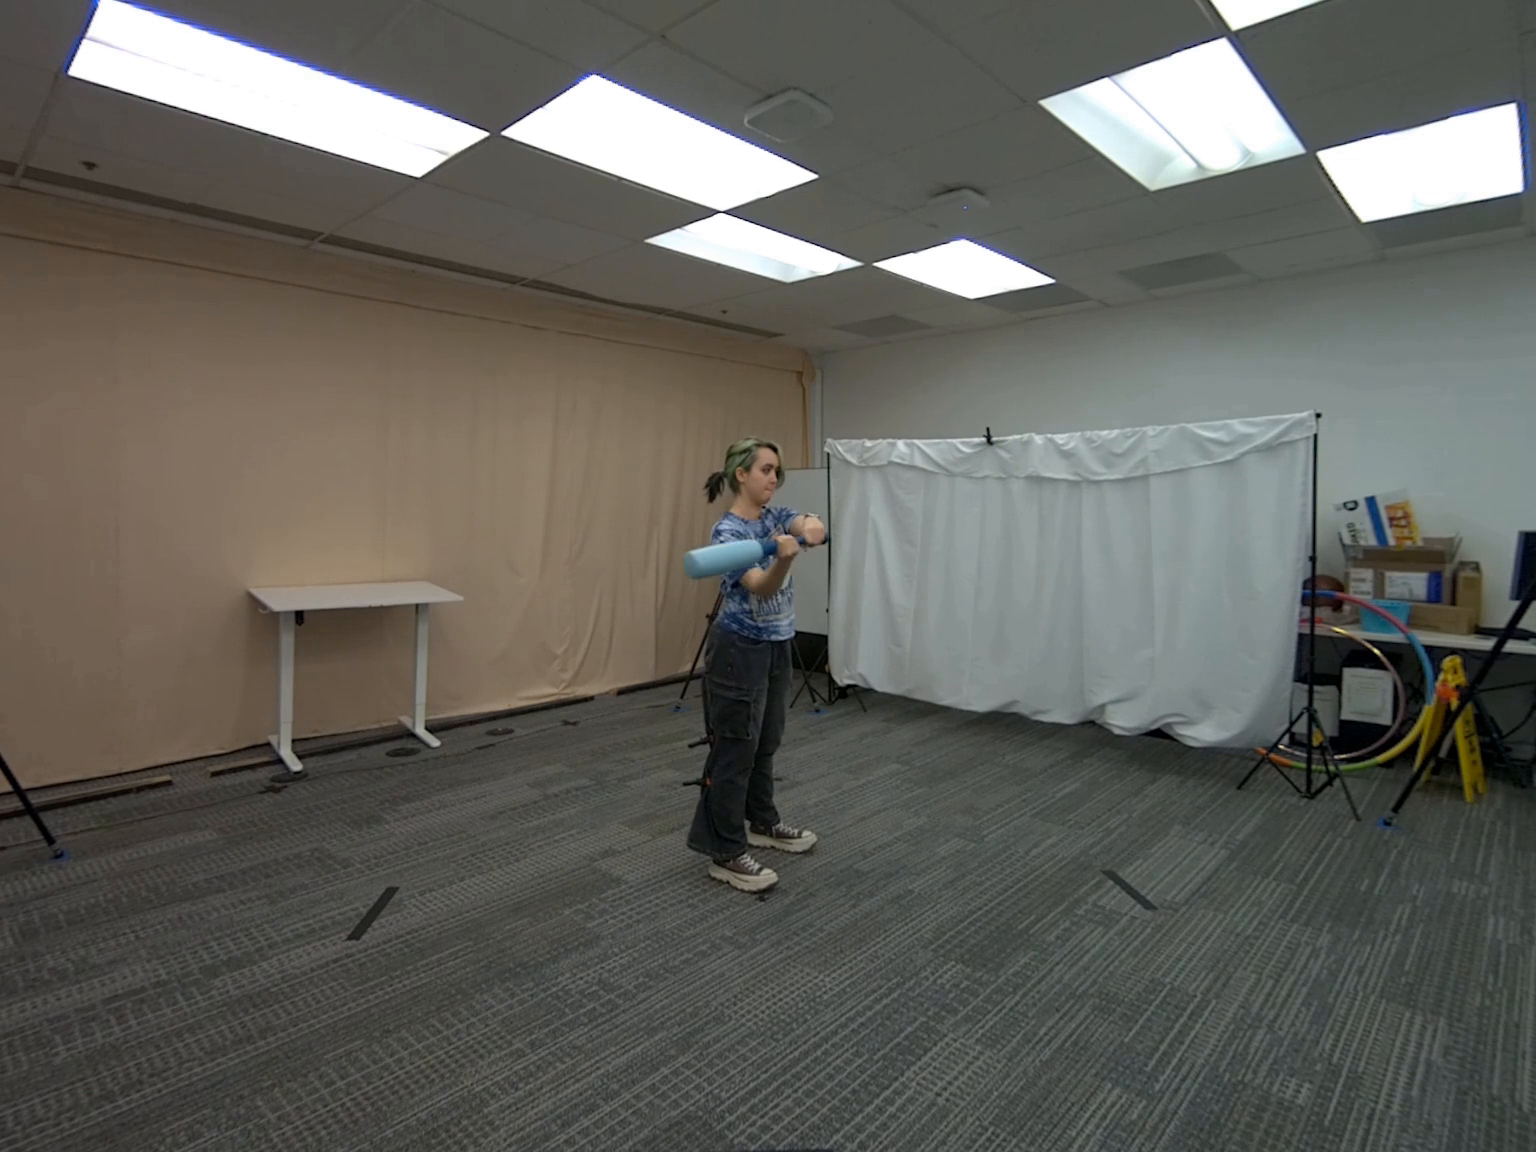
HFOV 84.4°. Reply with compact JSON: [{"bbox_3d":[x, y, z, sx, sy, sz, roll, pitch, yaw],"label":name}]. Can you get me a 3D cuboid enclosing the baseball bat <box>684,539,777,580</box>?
[{"bbox_3d":[-0.013,-0.082,2.635,0.529,0.088,0.092,-14,11,-35],"label":"baseball bat"}]
